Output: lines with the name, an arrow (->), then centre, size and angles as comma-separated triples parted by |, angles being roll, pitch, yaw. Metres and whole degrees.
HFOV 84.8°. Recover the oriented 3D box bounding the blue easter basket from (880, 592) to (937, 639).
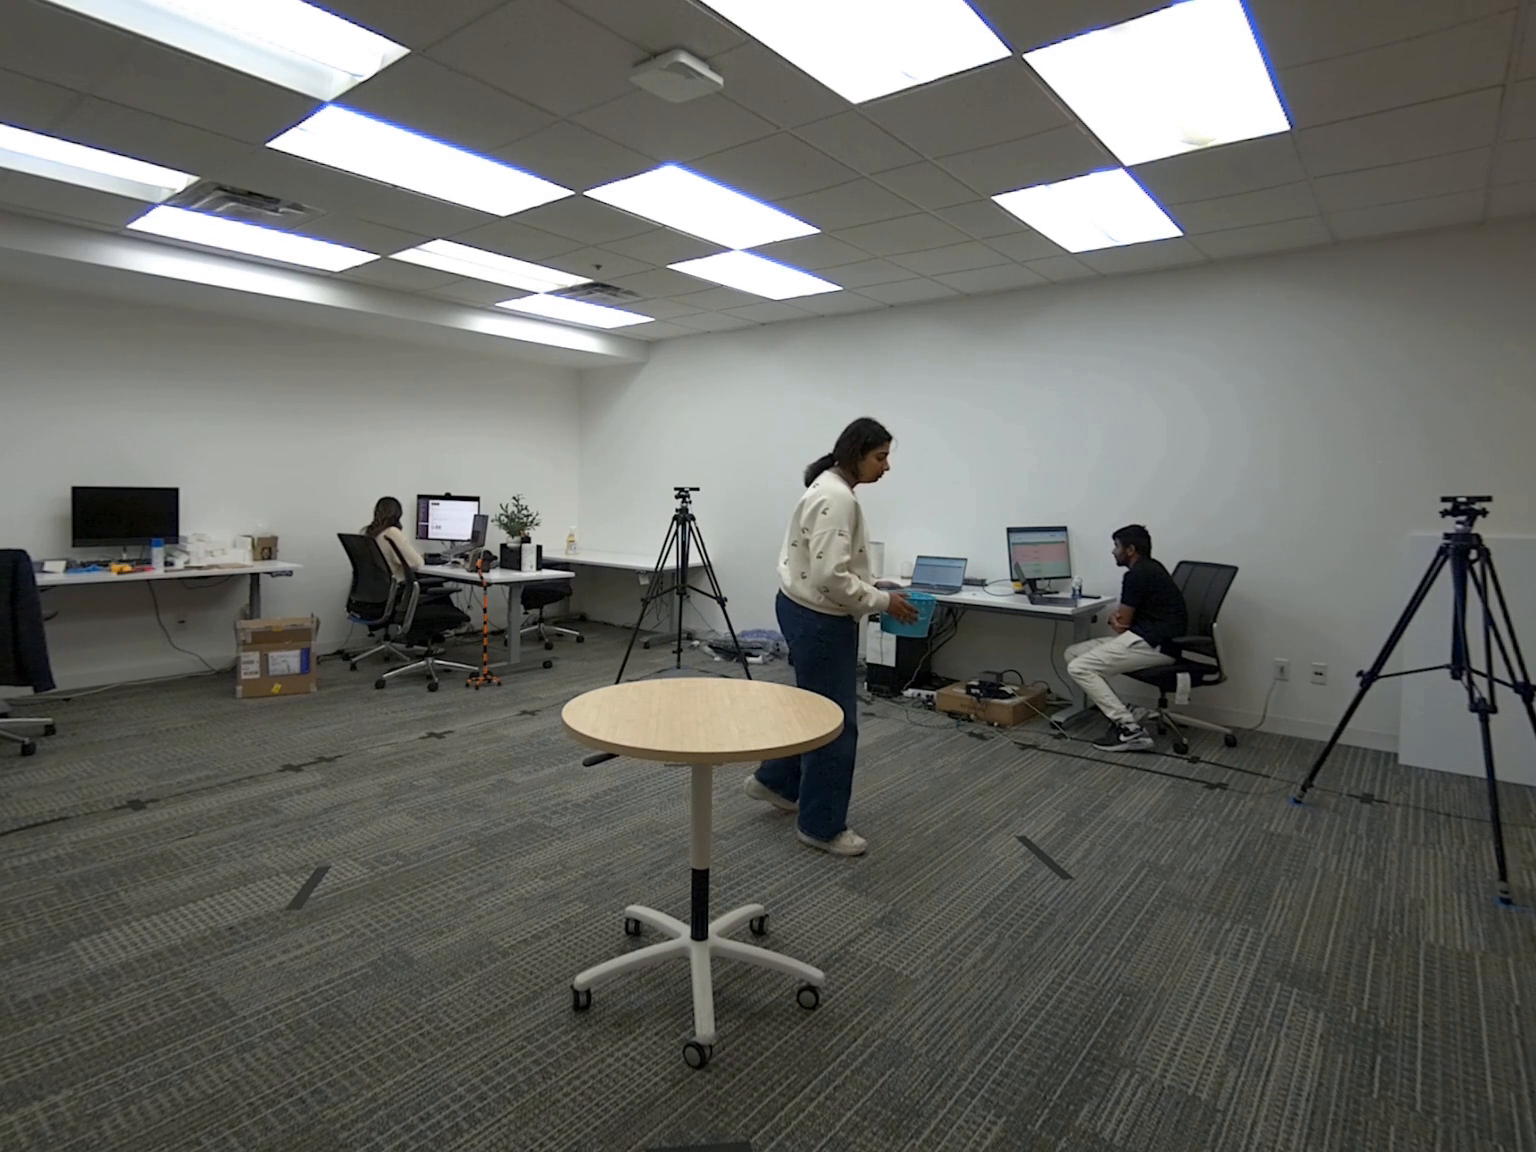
blue easter basket -> 0.534, 0.146, 3.327 | 0.243, 0.155, 0.245 | 6, 6, -2
